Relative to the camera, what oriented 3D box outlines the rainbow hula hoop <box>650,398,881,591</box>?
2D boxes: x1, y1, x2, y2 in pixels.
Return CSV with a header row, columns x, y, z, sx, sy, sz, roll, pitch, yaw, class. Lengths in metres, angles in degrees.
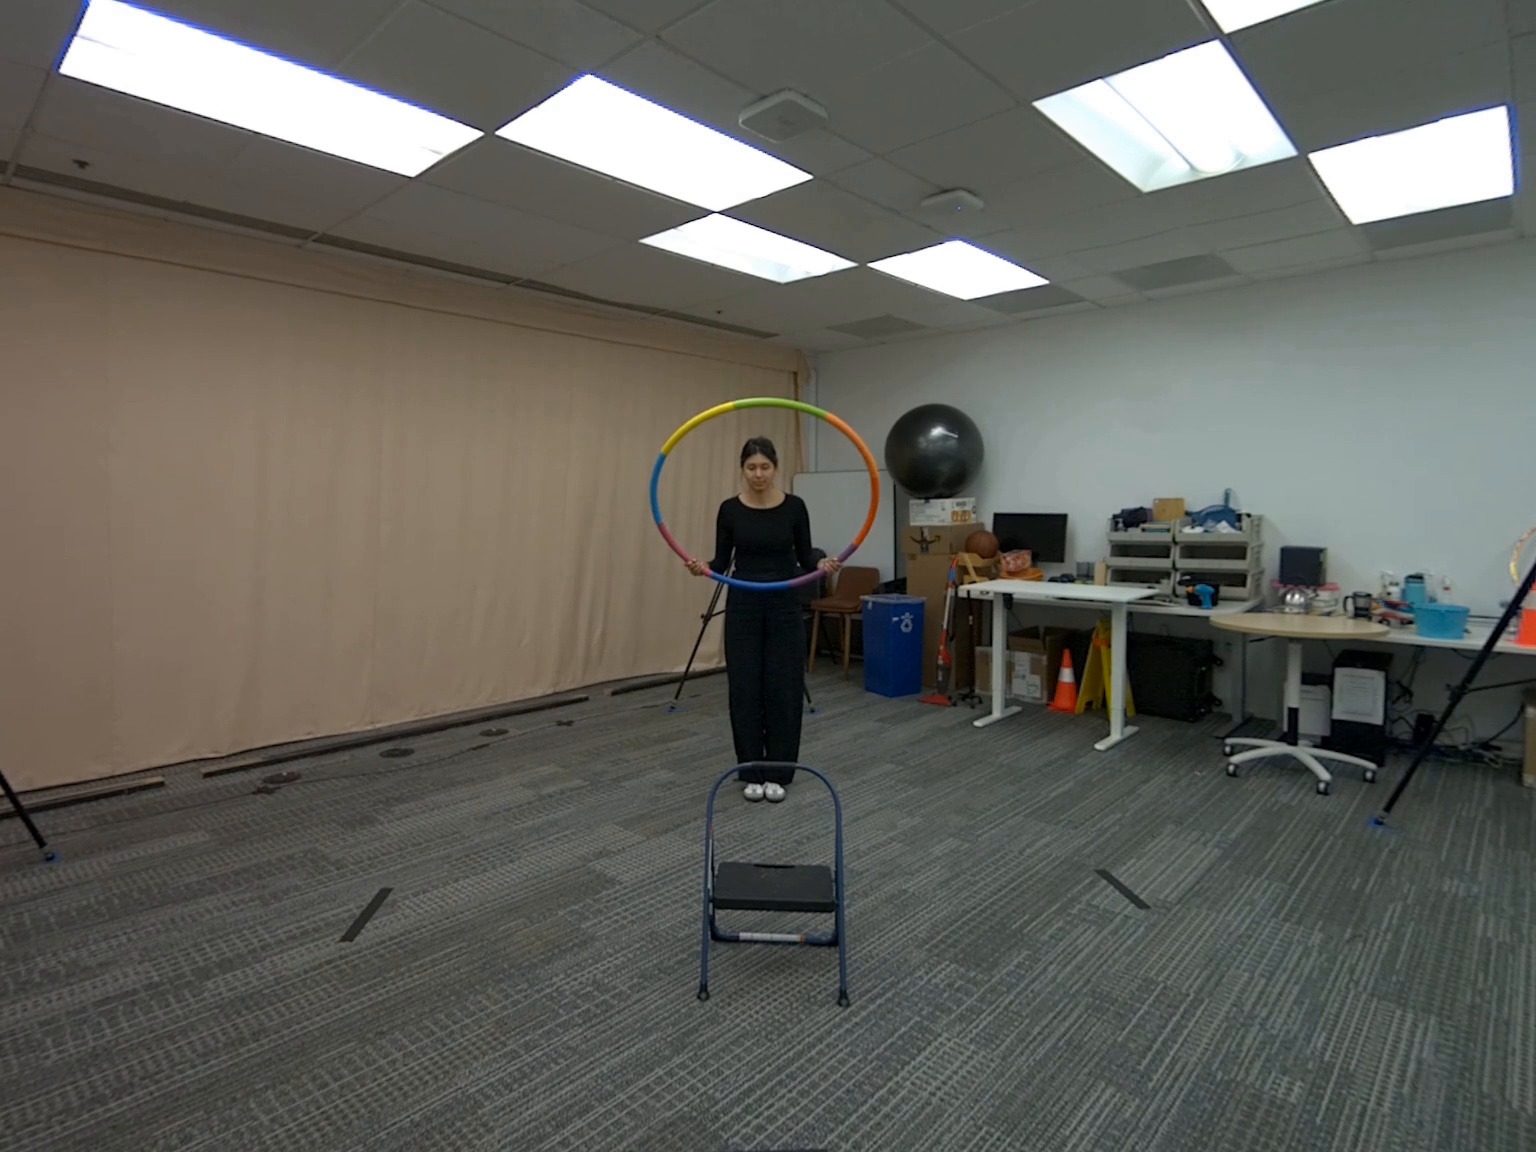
x,y,z,sx,sy,sz,roll,pitch,yaw,class
-0.016,-0.323,3.637,0.982,0.960,0.036,1,39,3,rainbow hula hoop
